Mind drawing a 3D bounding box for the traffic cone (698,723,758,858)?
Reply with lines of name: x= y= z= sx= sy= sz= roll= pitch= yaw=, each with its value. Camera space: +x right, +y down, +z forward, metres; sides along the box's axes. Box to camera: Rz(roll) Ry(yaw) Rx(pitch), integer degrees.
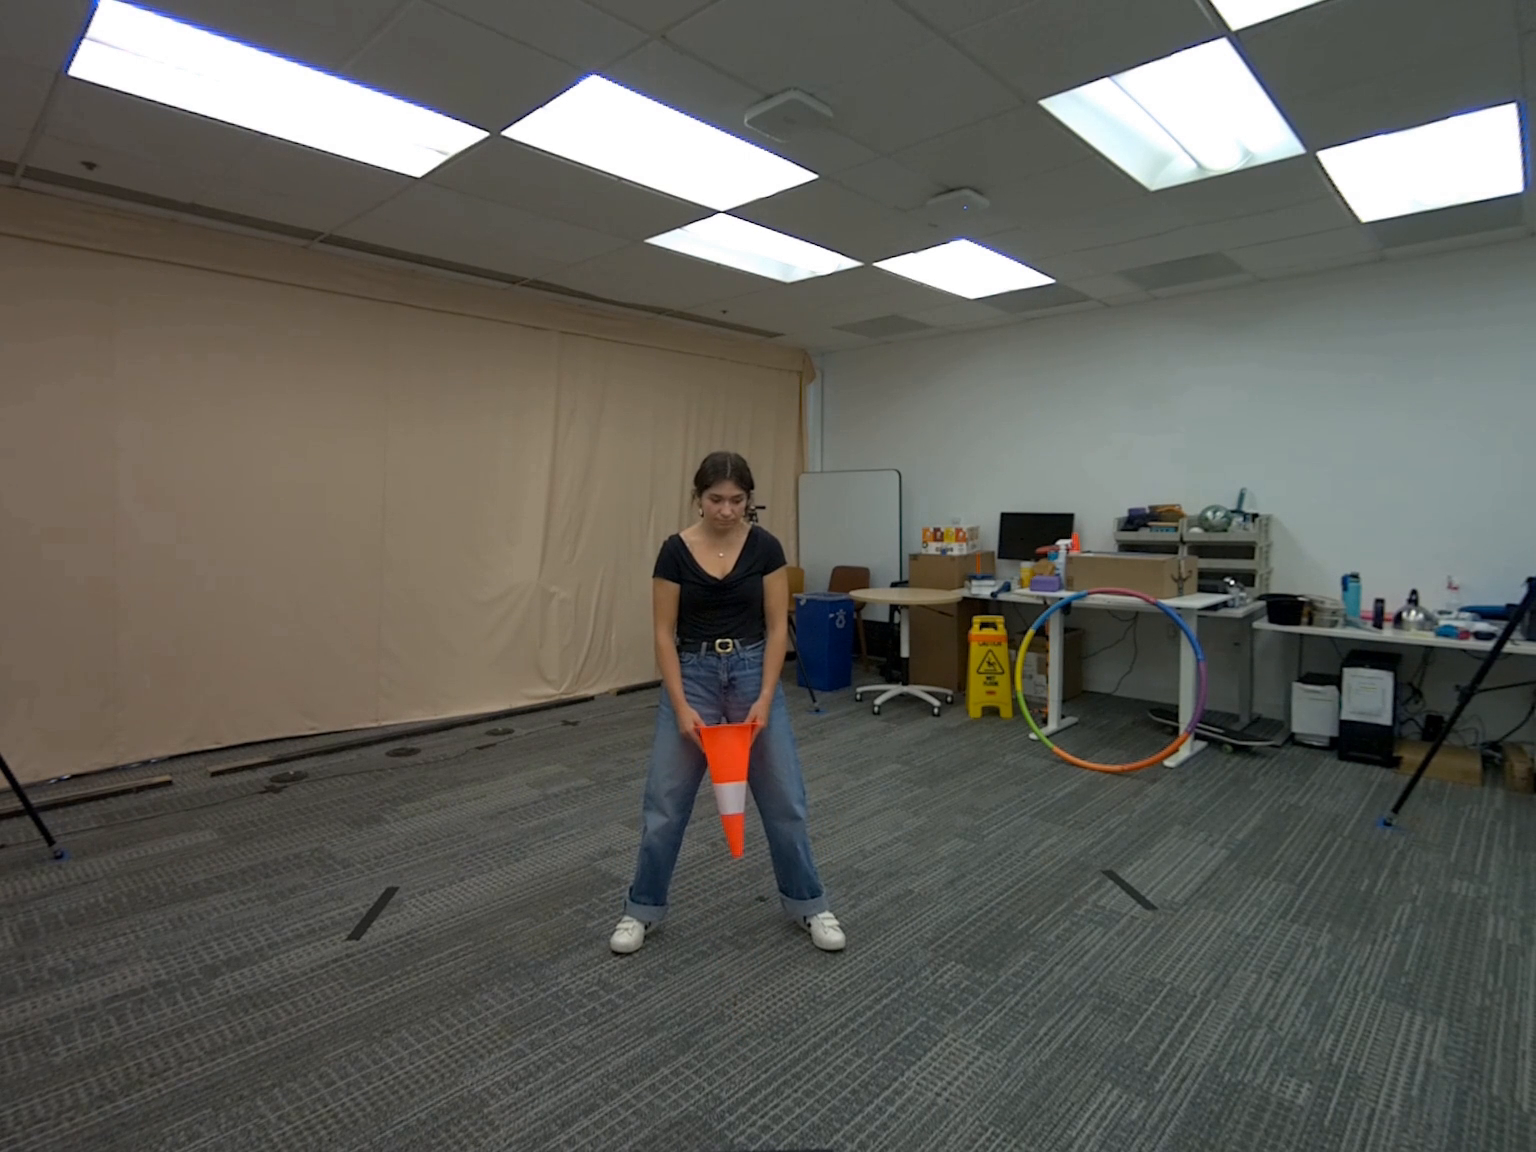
traffic cone: x=-0.107 y=0.642 z=2.512 sx=0.205 sy=0.388 sz=0.201 roll=-10 pitch=-16 yaw=7
